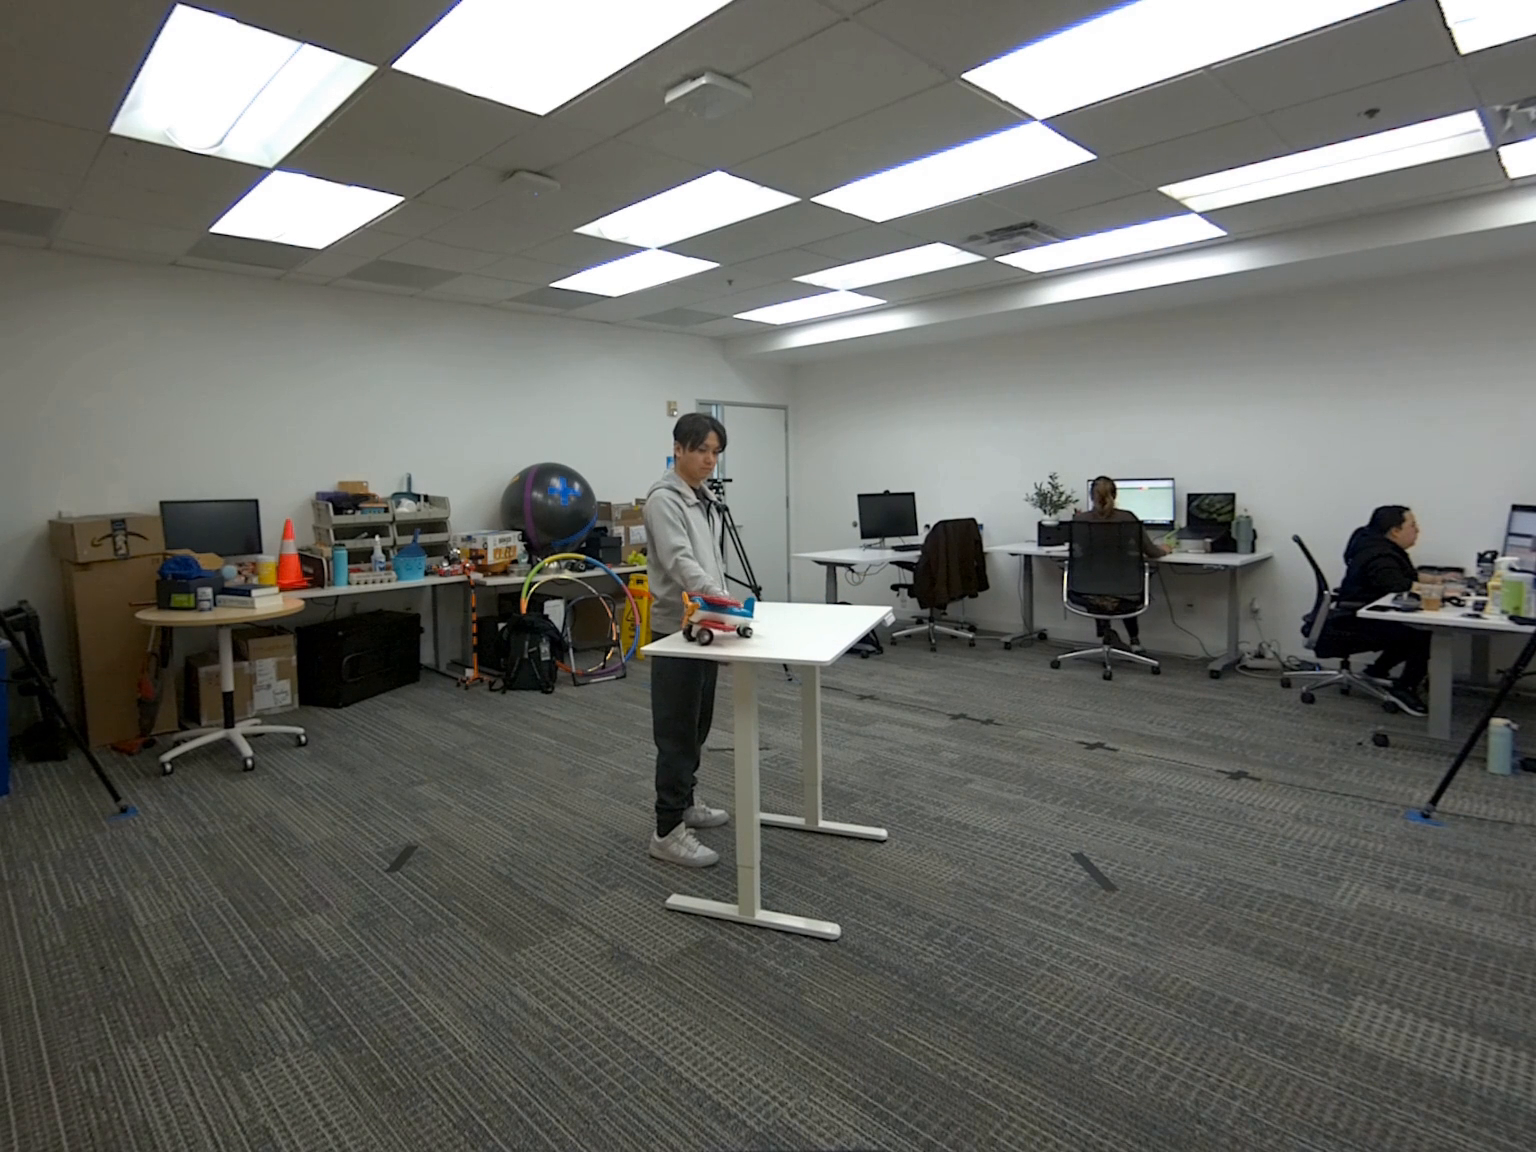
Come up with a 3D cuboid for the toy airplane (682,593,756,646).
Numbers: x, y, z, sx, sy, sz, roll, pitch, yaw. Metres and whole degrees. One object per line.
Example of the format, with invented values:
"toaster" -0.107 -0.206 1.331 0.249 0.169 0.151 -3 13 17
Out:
"toy airplane" -0.163 0.132 2.760 0.258 0.155 0.254 2 8 30
